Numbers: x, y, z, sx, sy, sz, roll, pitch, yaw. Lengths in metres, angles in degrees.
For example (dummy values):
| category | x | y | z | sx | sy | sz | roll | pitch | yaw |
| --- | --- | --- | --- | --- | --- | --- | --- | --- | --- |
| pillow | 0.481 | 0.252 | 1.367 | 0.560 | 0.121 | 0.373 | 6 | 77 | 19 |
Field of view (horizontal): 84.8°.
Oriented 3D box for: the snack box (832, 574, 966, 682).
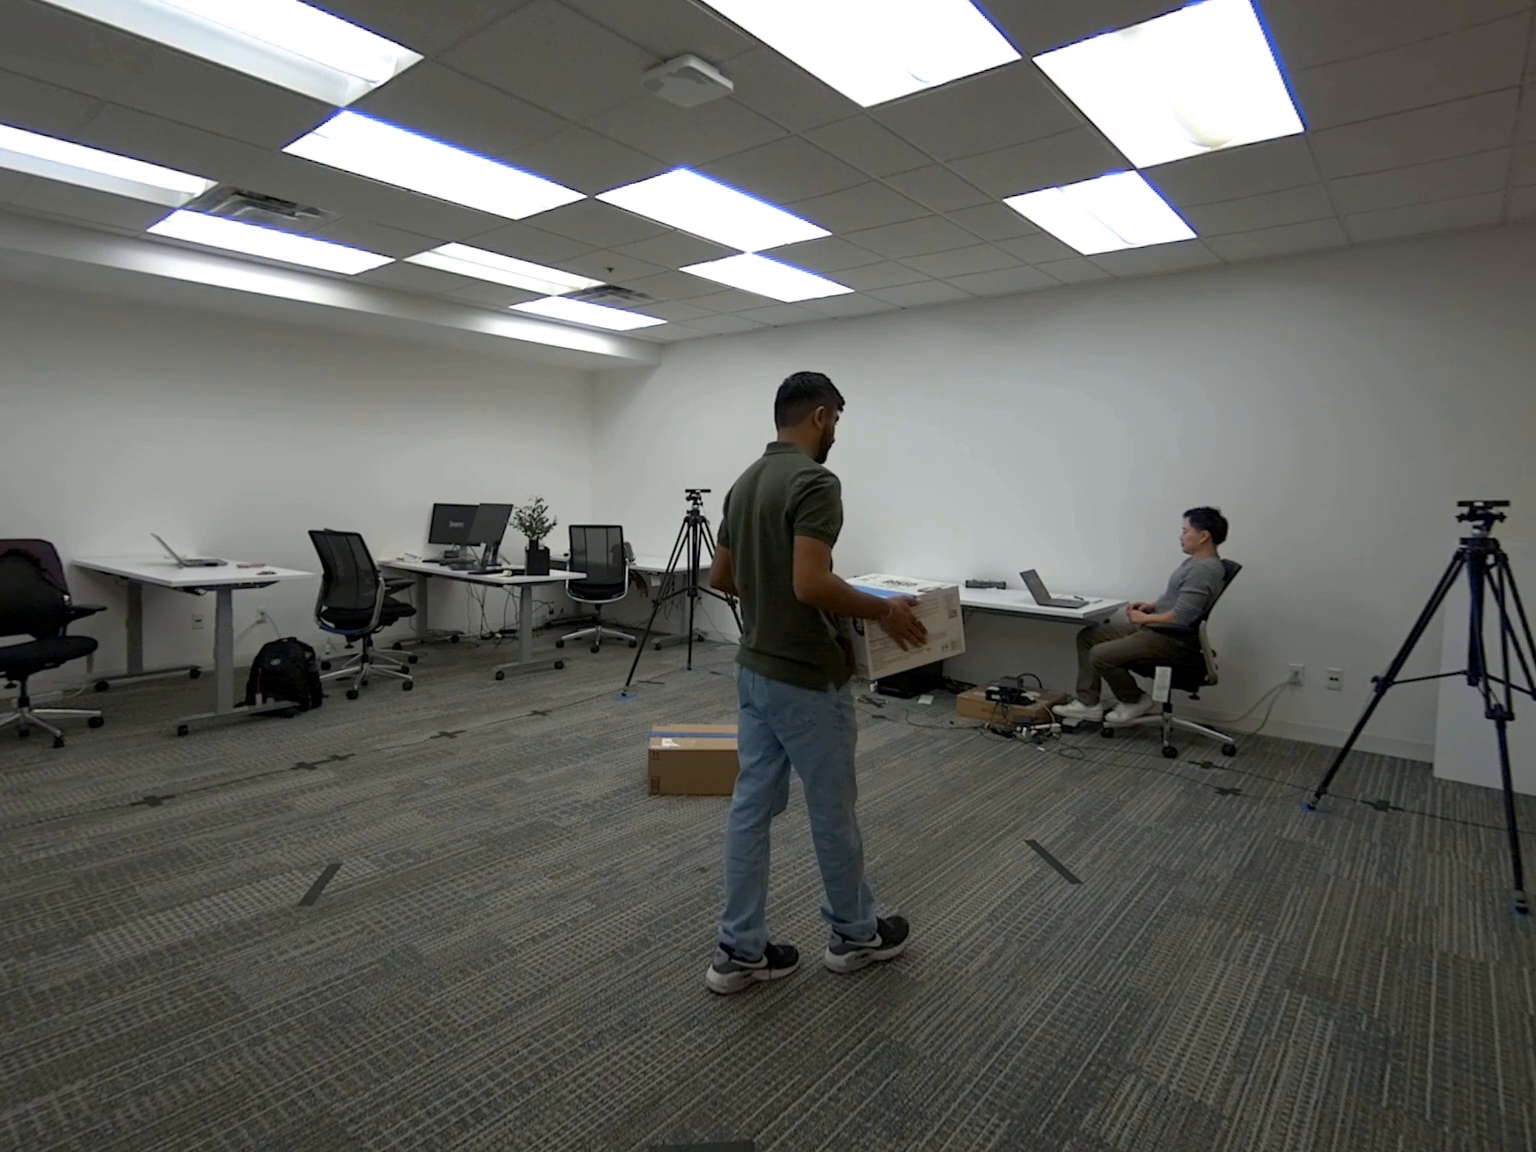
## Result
| category | x | y | z | sx | sy | sz | roll | pitch | yaw |
| --- | --- | --- | --- | --- | --- | --- | --- | --- | --- |
| snack box | 0.309 | 0.139 | 2.554 | 0.334 | 0.204 | 0.417 | -12 | 11 | -26 |
